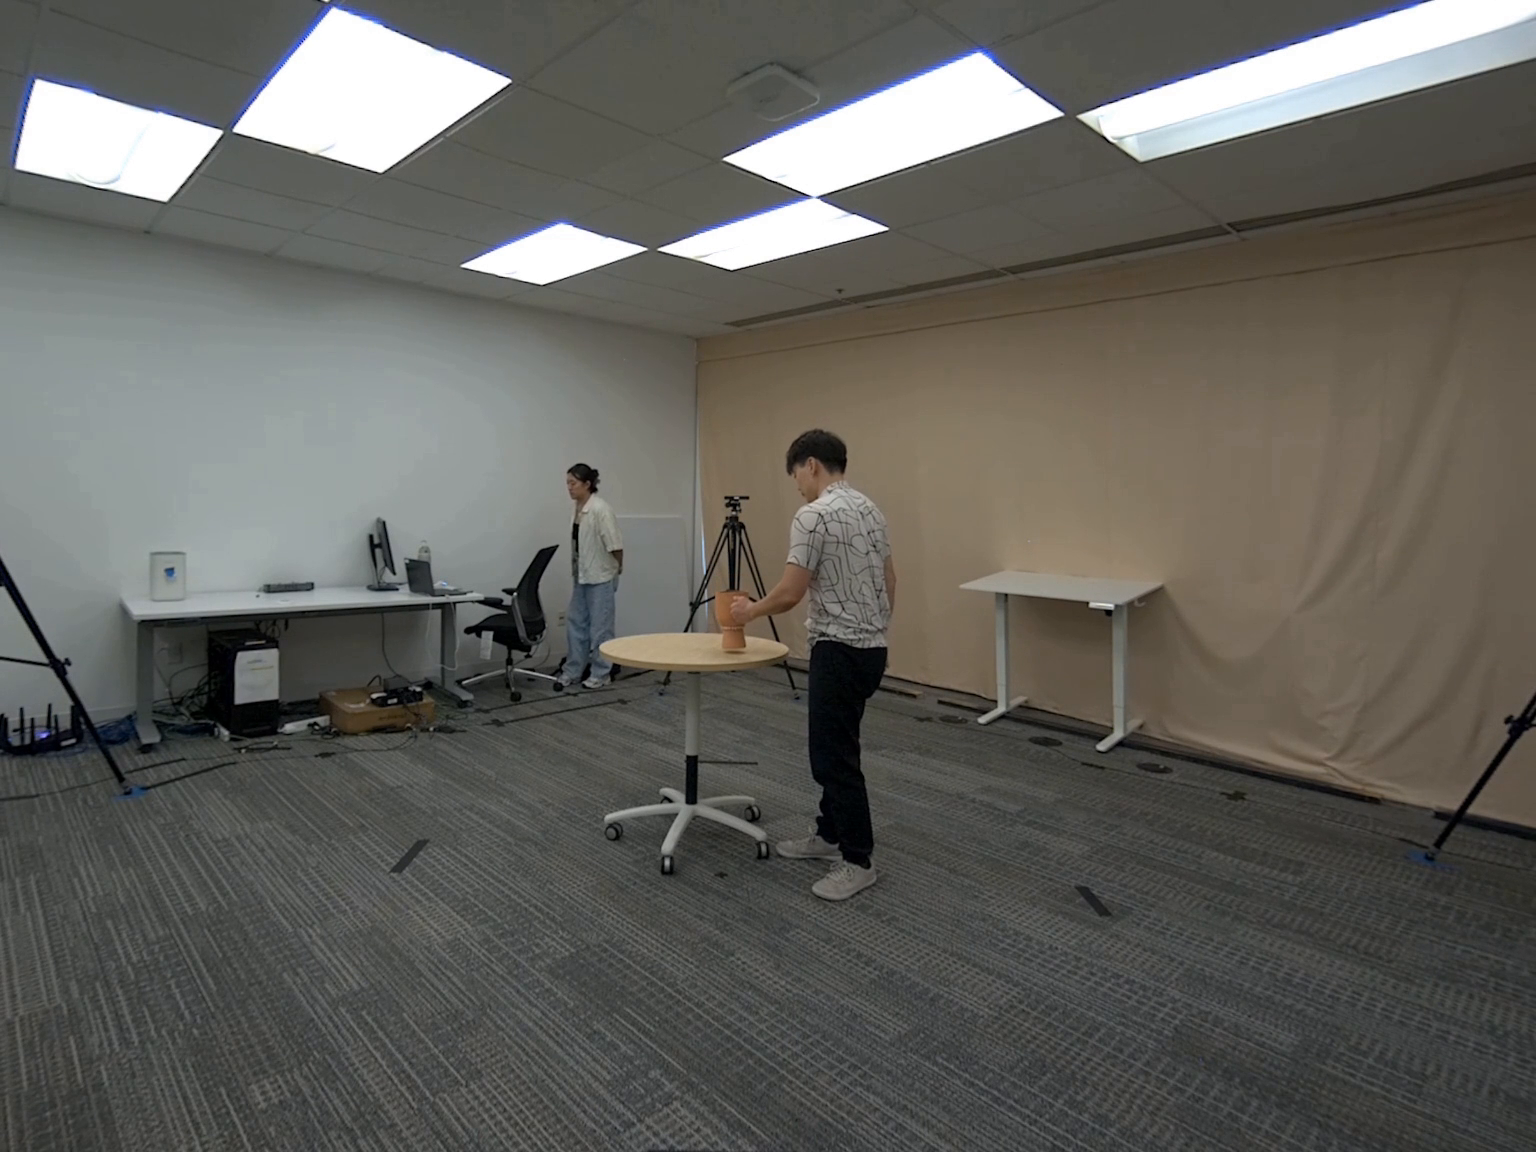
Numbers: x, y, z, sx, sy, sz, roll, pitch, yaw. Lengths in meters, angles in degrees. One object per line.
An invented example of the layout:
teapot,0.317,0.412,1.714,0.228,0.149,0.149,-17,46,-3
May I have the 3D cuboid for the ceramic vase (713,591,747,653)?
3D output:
ceramic vase,-0.140,0.171,3.302,0.137,0.219,0.156,-1,2,26
